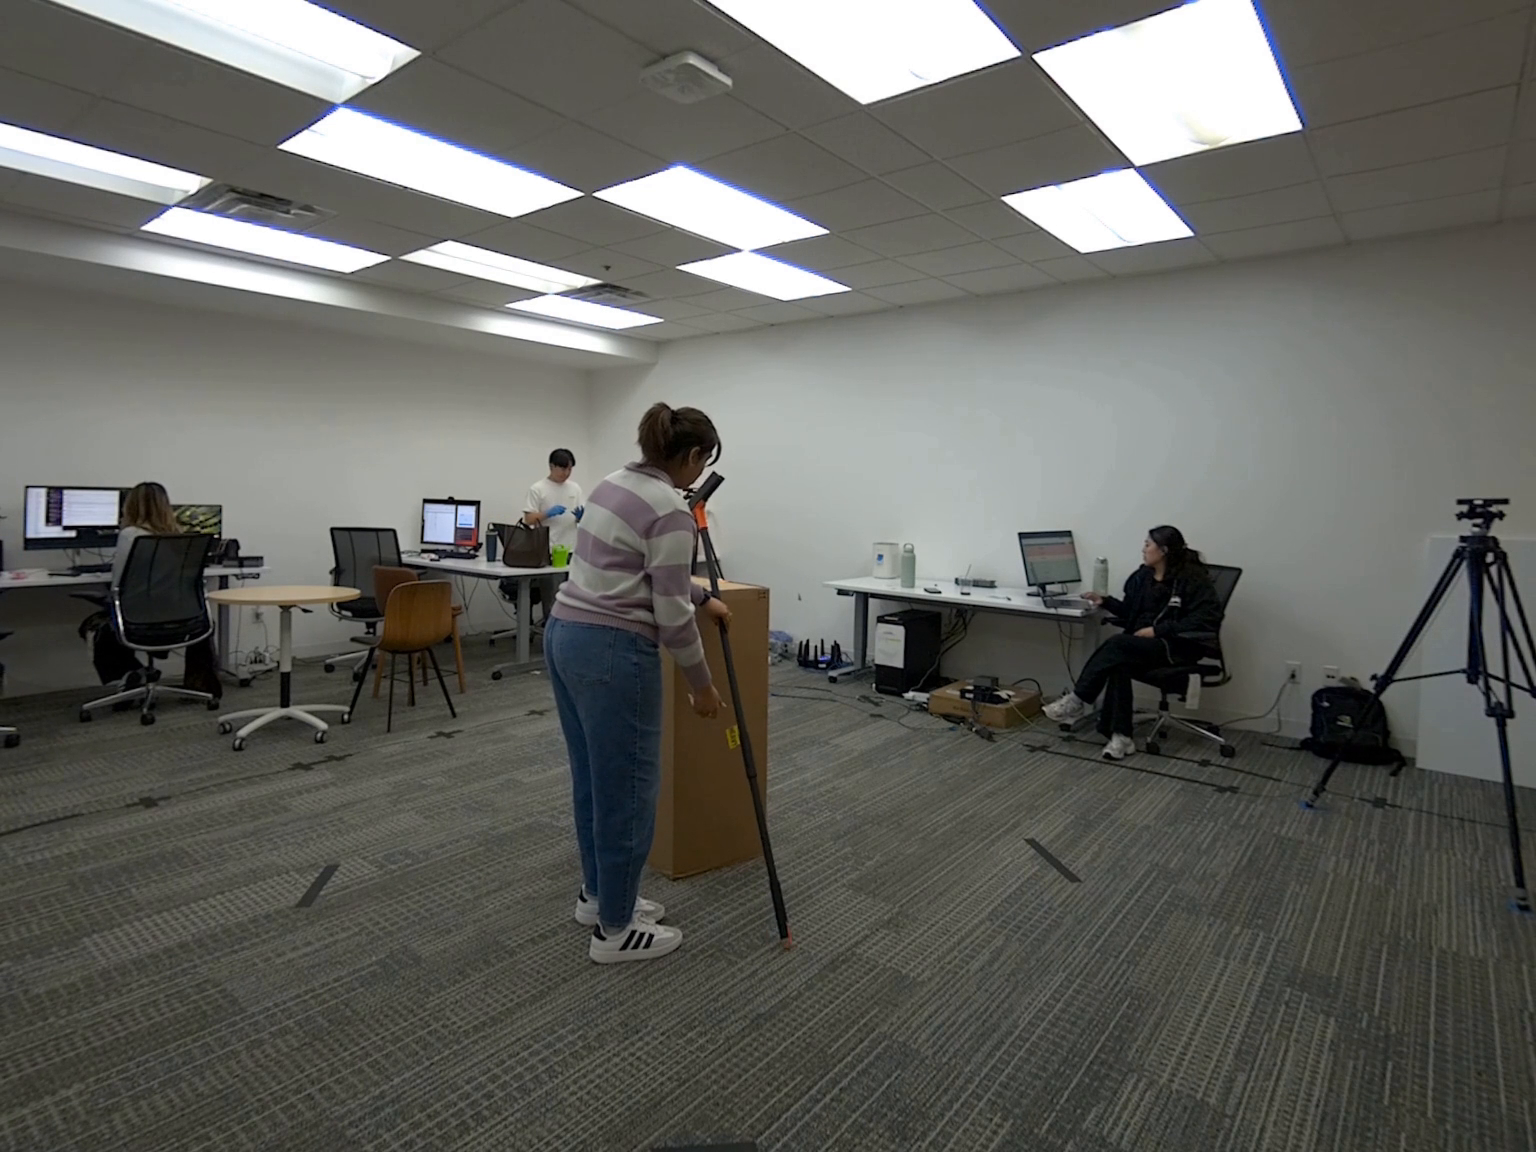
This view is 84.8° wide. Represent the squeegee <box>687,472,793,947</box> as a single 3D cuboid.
[{"bbox_3d":[-0.092,0.406,2.899,0.052,1.575,0.437,-4,-24,-27],"label":"squeegee"}]
